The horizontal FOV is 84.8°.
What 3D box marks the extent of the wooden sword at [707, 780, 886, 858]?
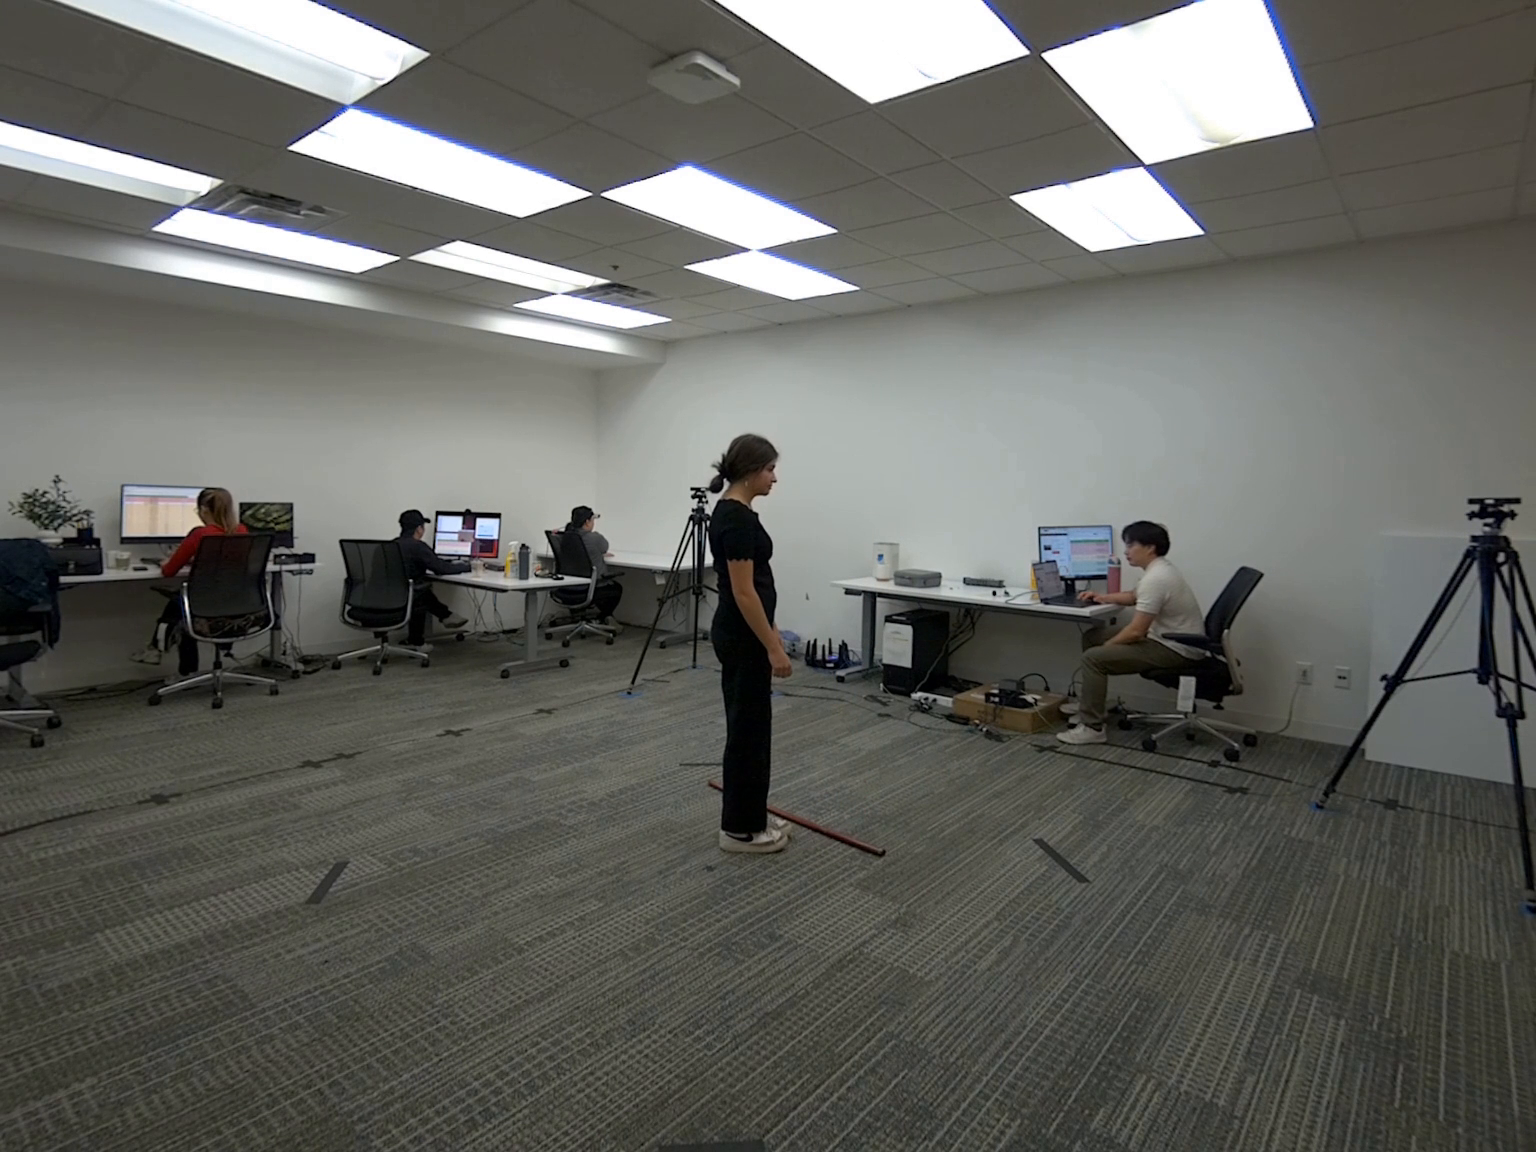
[{"bbox_3d":[0.057,1.001,3.619,0.049,0.024,1.060,2,4,-43],"label":"wooden sword"}]
